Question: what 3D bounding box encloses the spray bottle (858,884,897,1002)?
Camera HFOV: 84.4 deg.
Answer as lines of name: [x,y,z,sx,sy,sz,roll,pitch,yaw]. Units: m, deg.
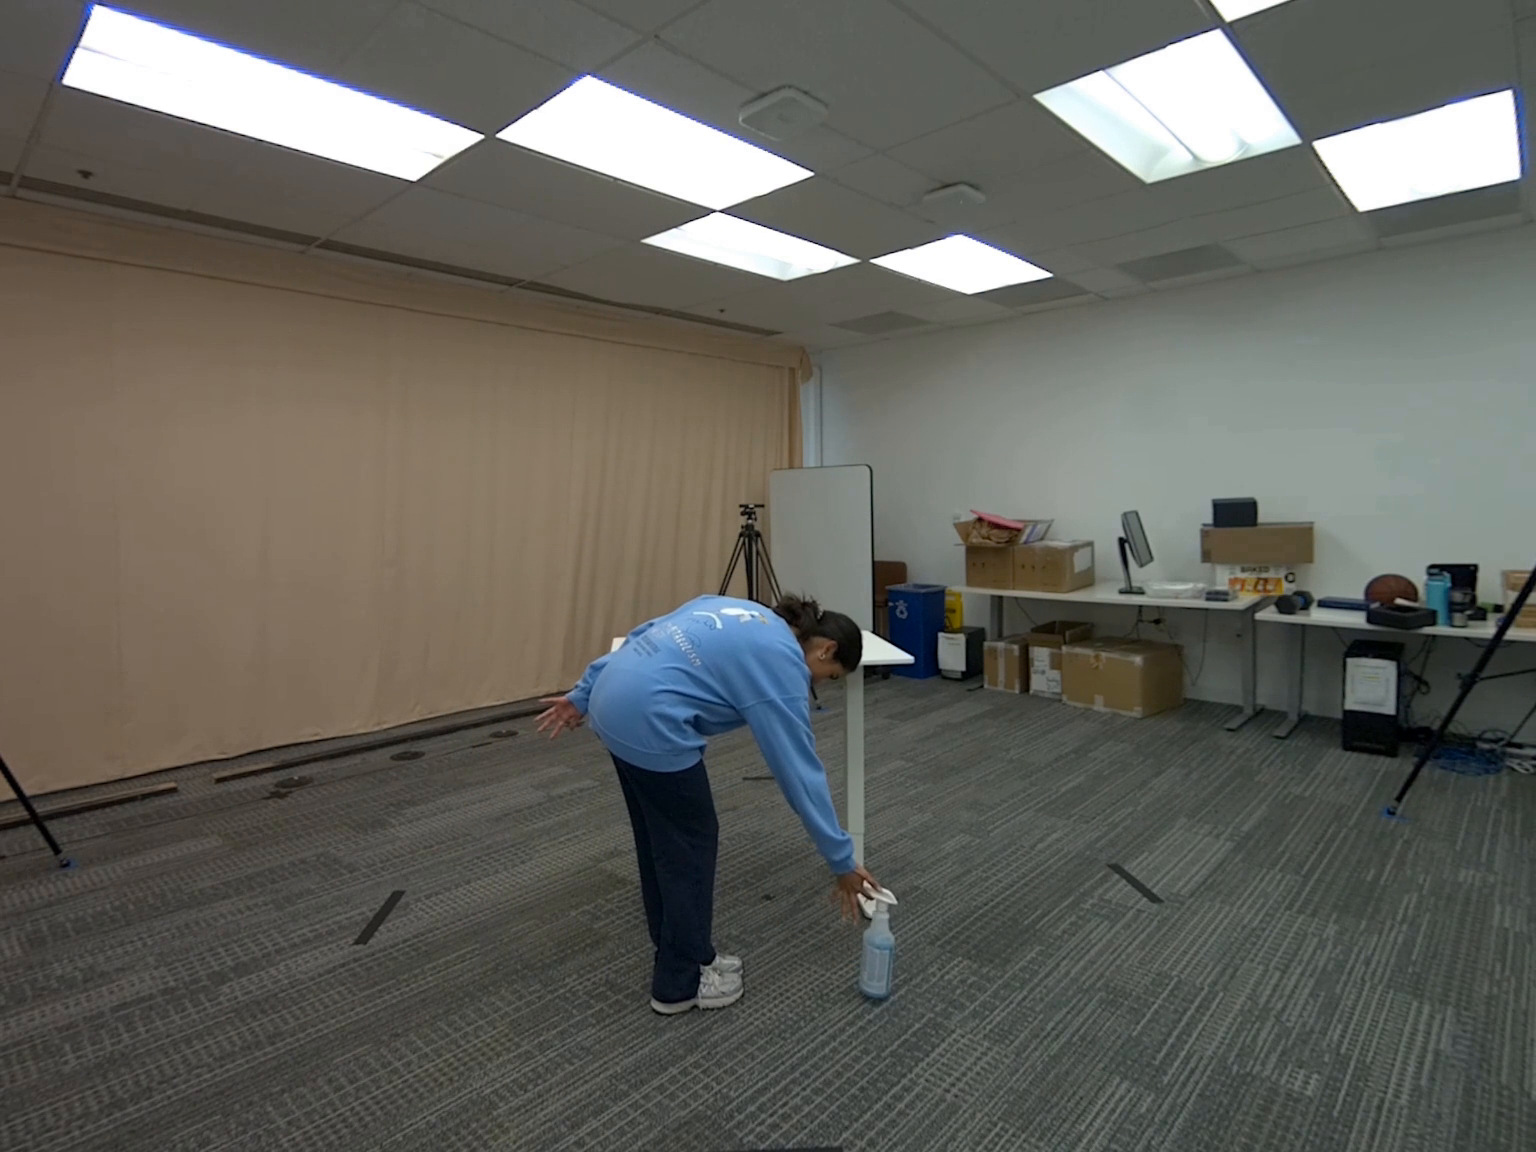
spray bottle: [0.313,1.028,2.344,0.093,0.296,0.084,8,6,43]
